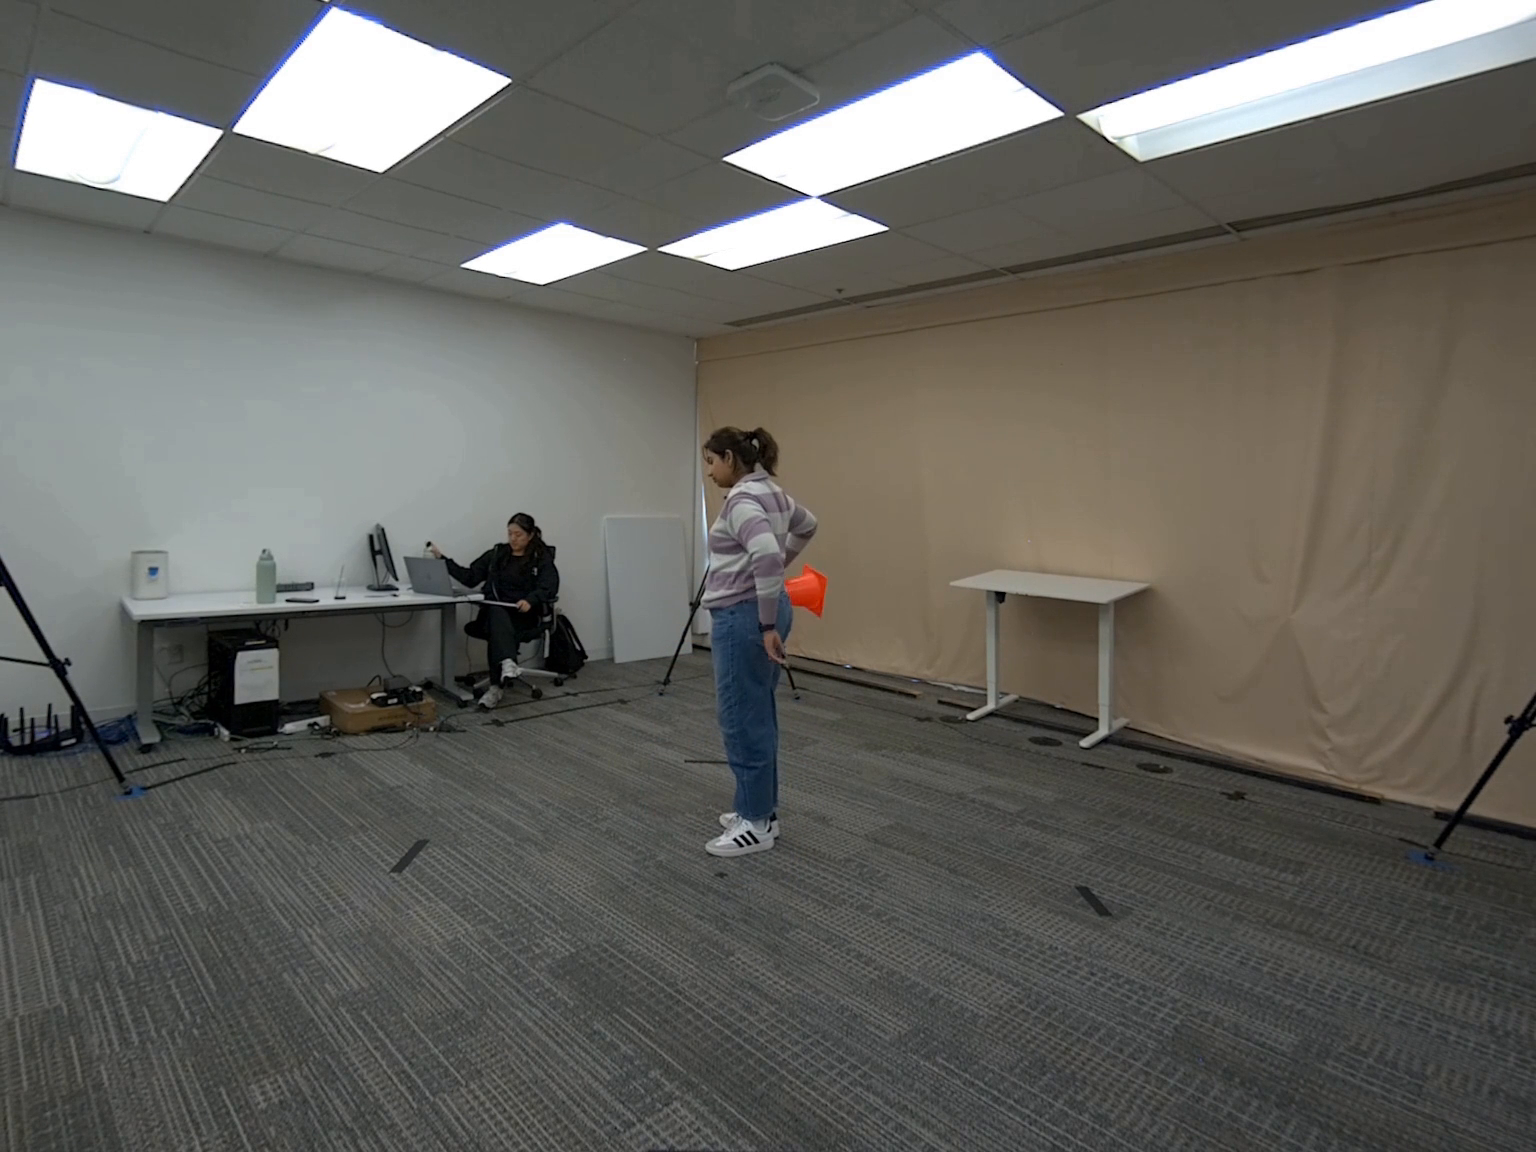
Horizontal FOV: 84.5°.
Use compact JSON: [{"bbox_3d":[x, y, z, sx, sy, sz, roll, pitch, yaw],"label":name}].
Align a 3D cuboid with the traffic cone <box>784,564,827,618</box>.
[{"bbox_3d":[0.028,0.086,3.758,0.377,0.200,0.211,-8,24,-28],"label":"traffic cone"}]
